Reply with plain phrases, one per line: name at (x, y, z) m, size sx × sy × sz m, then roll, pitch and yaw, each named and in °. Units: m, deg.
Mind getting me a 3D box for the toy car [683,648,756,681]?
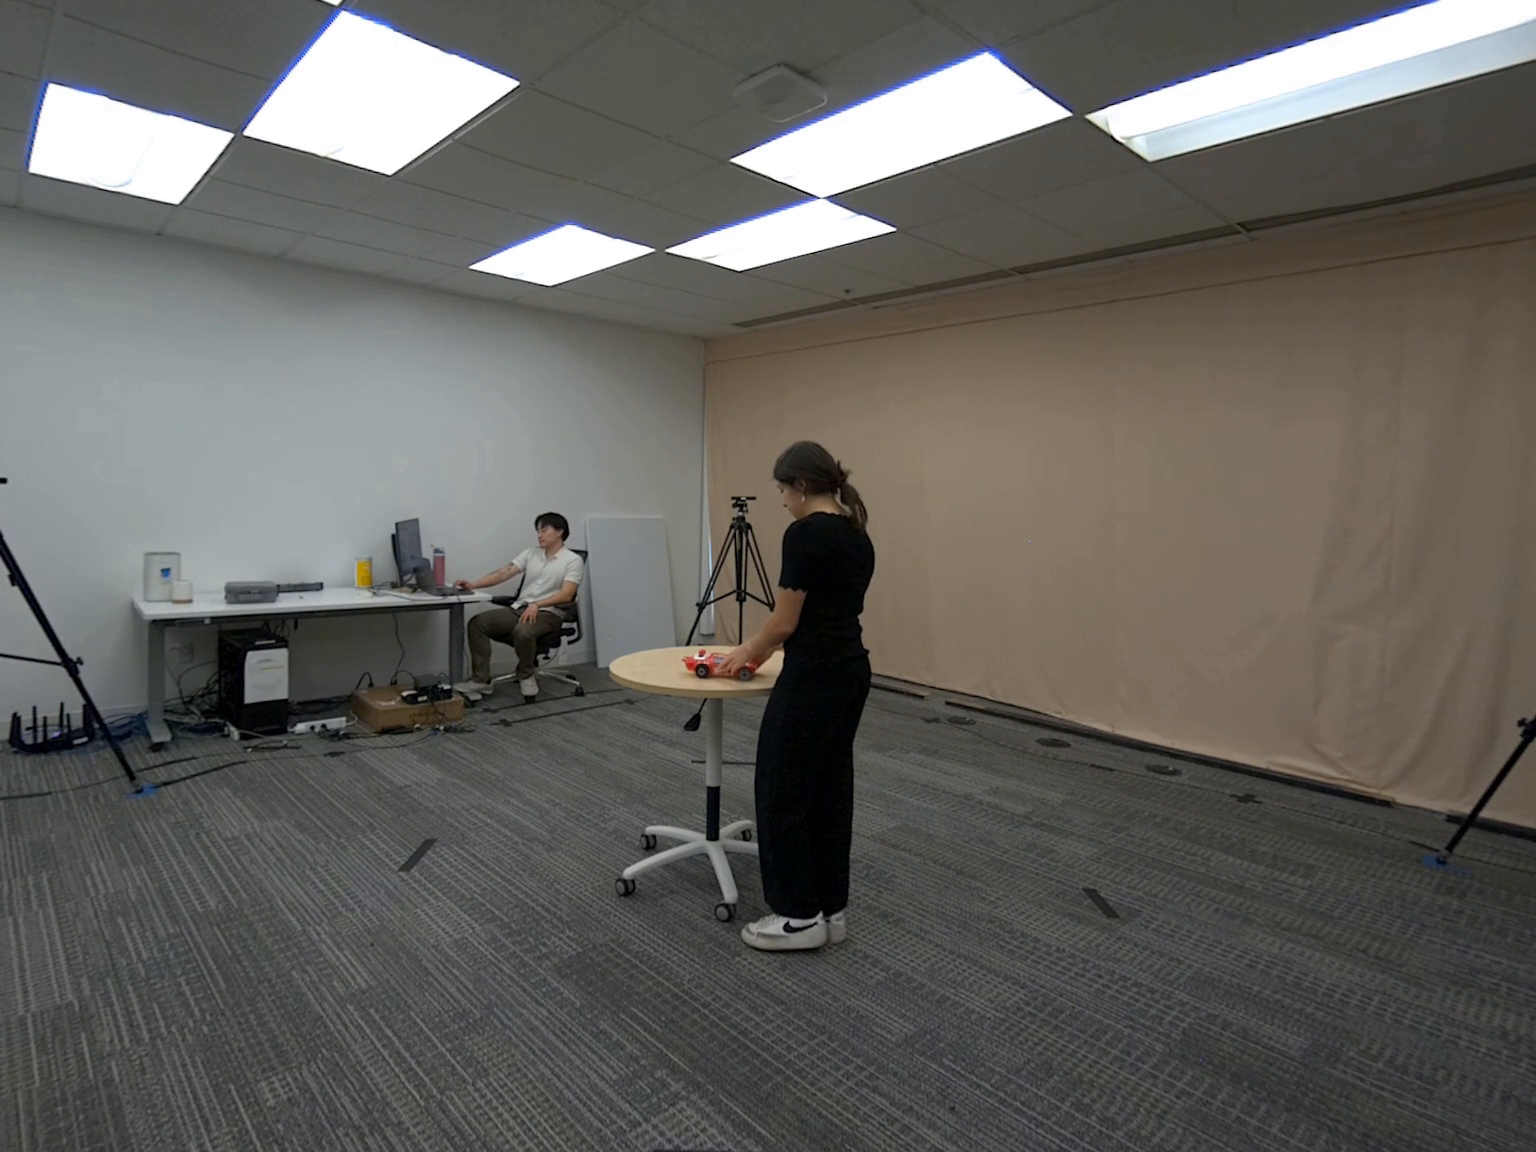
toy car at (-0.174, 0.313, 2.877) m, size 0.255 × 0.083 × 0.130 m, roll 12°, pitch 5°, yaw 3°
